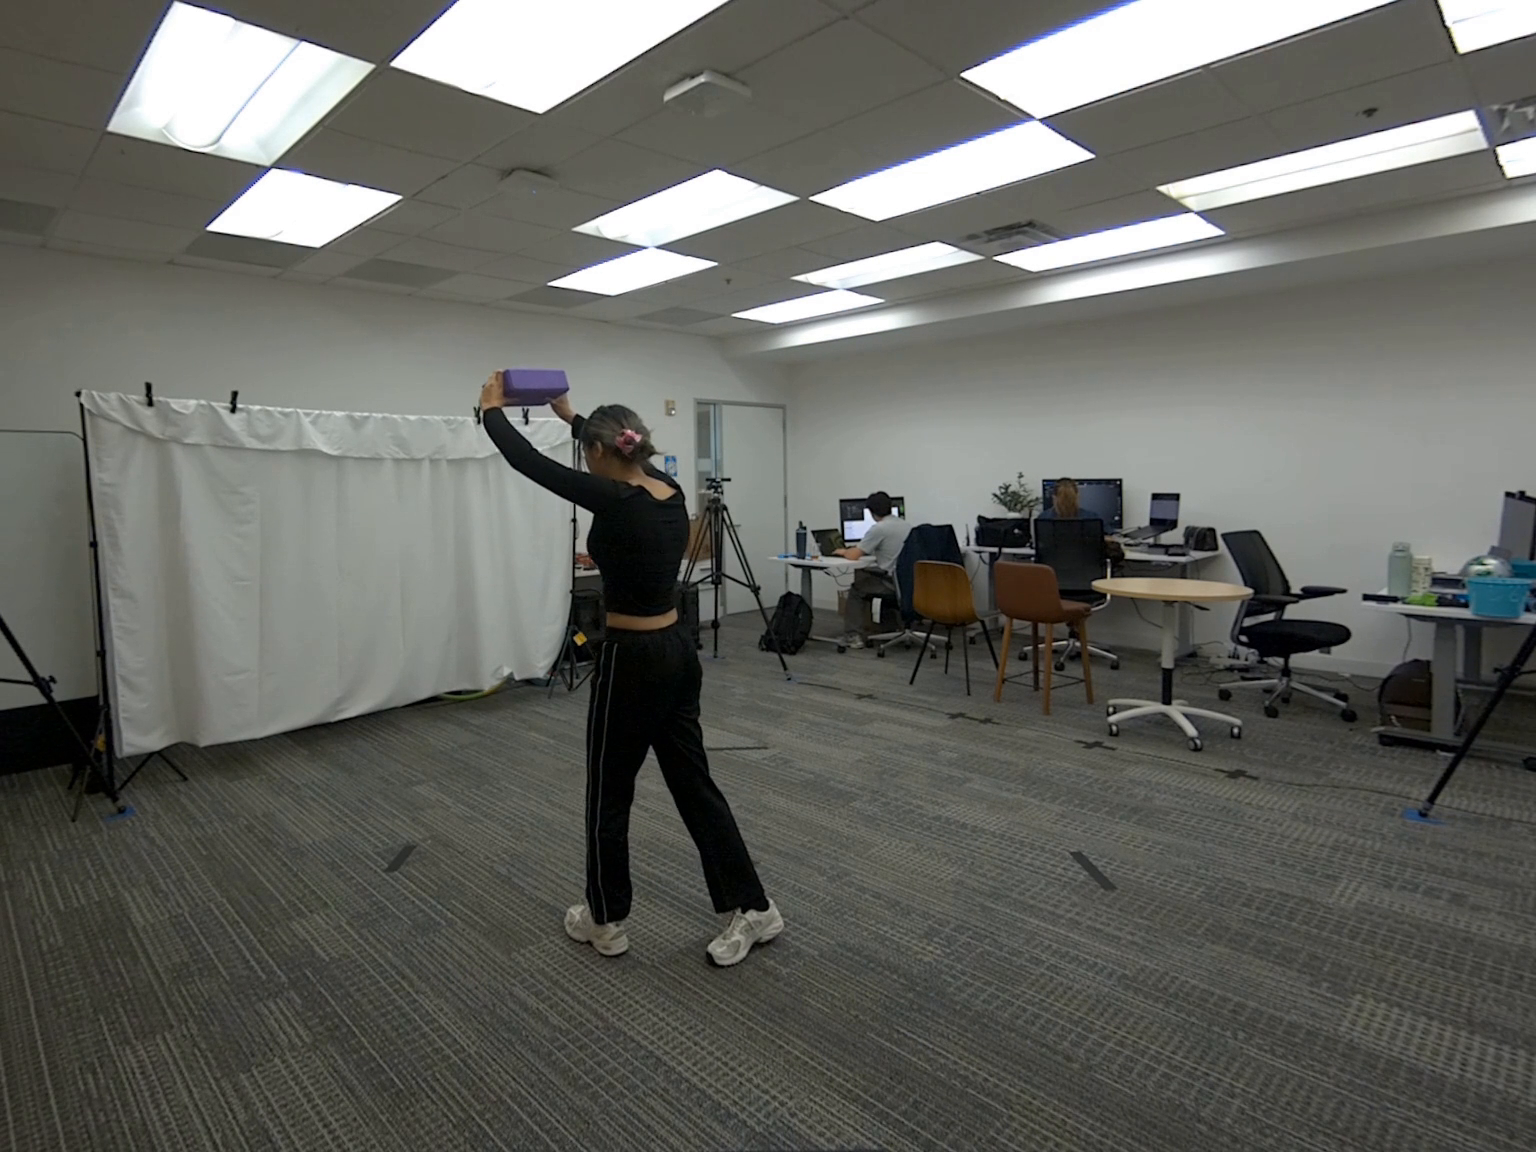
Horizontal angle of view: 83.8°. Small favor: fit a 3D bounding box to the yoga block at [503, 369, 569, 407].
[{"bbox_3d":[-0.756,-0.593,2.675,0.152,0.076,0.224,-16,0,36],"label":"yoga block"}]
